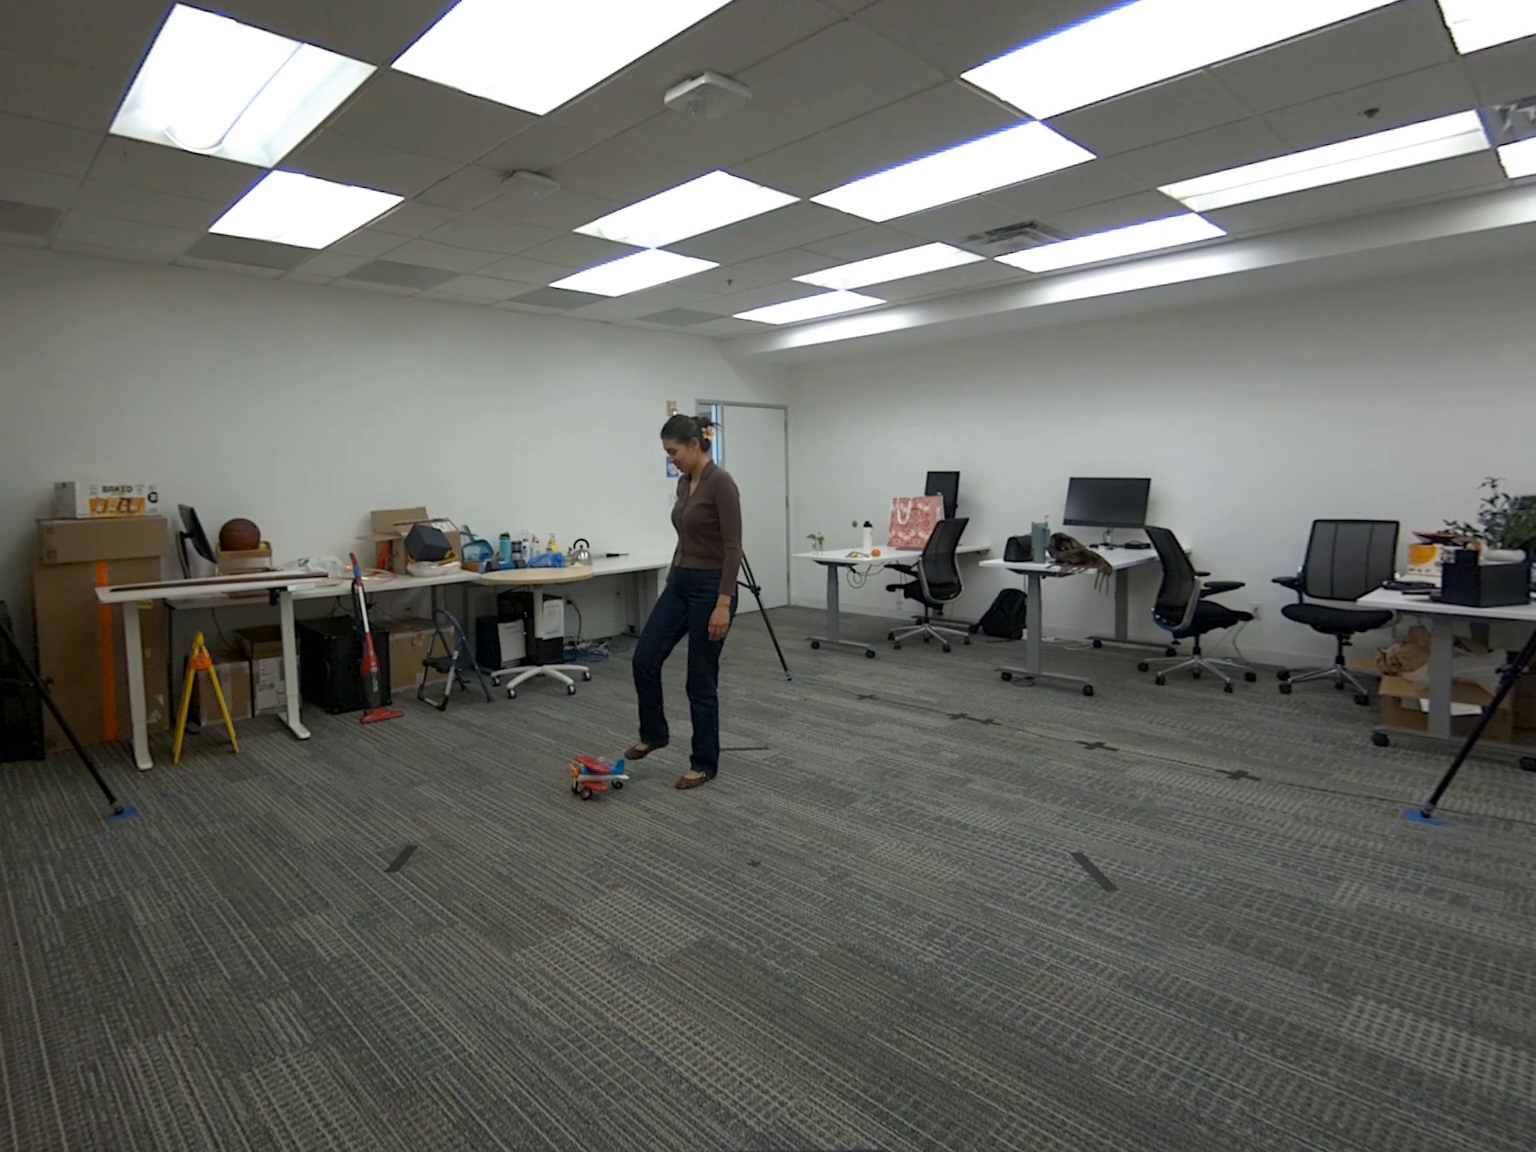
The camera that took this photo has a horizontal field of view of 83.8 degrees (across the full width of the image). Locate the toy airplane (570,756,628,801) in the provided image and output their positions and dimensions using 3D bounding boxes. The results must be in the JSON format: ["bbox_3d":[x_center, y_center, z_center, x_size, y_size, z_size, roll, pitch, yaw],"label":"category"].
[{"bbox_3d":[-0.776,0.899,3.862,0.257,0.156,0.254,1,7,25],"label":"toy airplane"}]
